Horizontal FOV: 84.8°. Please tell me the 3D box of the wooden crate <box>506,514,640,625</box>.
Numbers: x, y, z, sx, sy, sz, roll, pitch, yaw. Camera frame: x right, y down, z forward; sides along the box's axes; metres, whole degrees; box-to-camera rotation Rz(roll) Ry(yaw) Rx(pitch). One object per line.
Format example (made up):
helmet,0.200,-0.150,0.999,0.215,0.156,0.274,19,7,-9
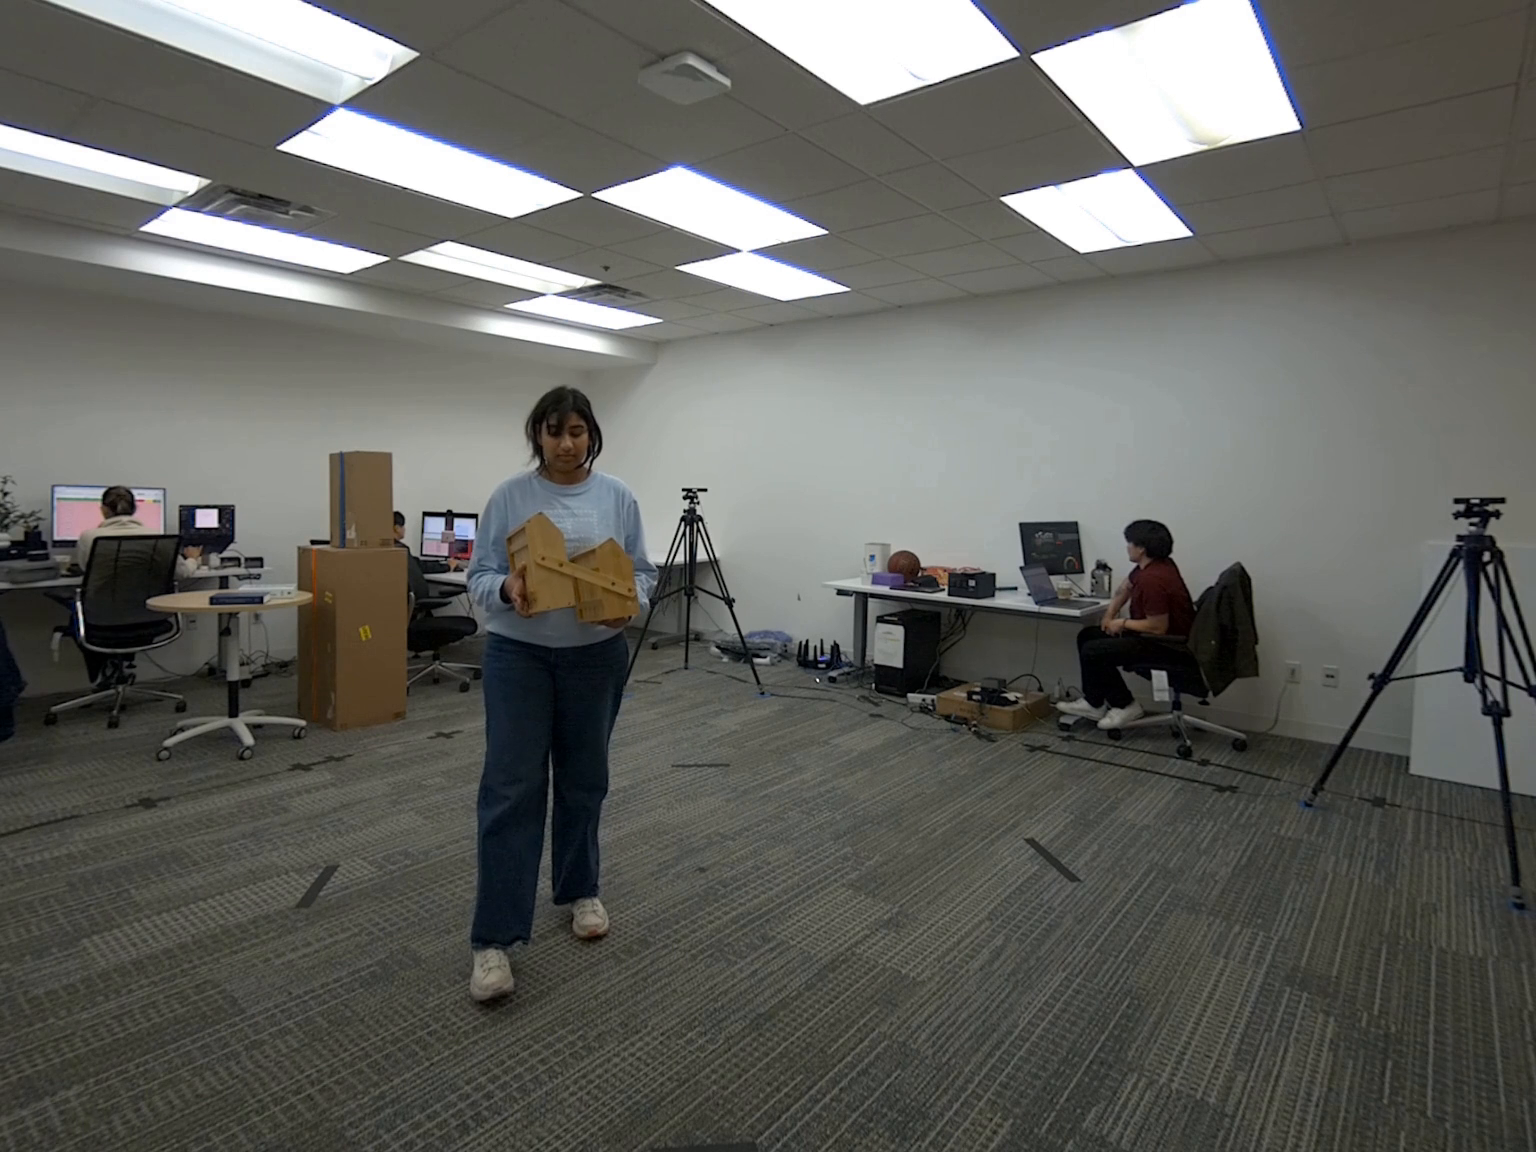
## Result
wooden crate,-0.541,-0.024,2.317,0.268,0.303,0.330,-8,-2,-25
